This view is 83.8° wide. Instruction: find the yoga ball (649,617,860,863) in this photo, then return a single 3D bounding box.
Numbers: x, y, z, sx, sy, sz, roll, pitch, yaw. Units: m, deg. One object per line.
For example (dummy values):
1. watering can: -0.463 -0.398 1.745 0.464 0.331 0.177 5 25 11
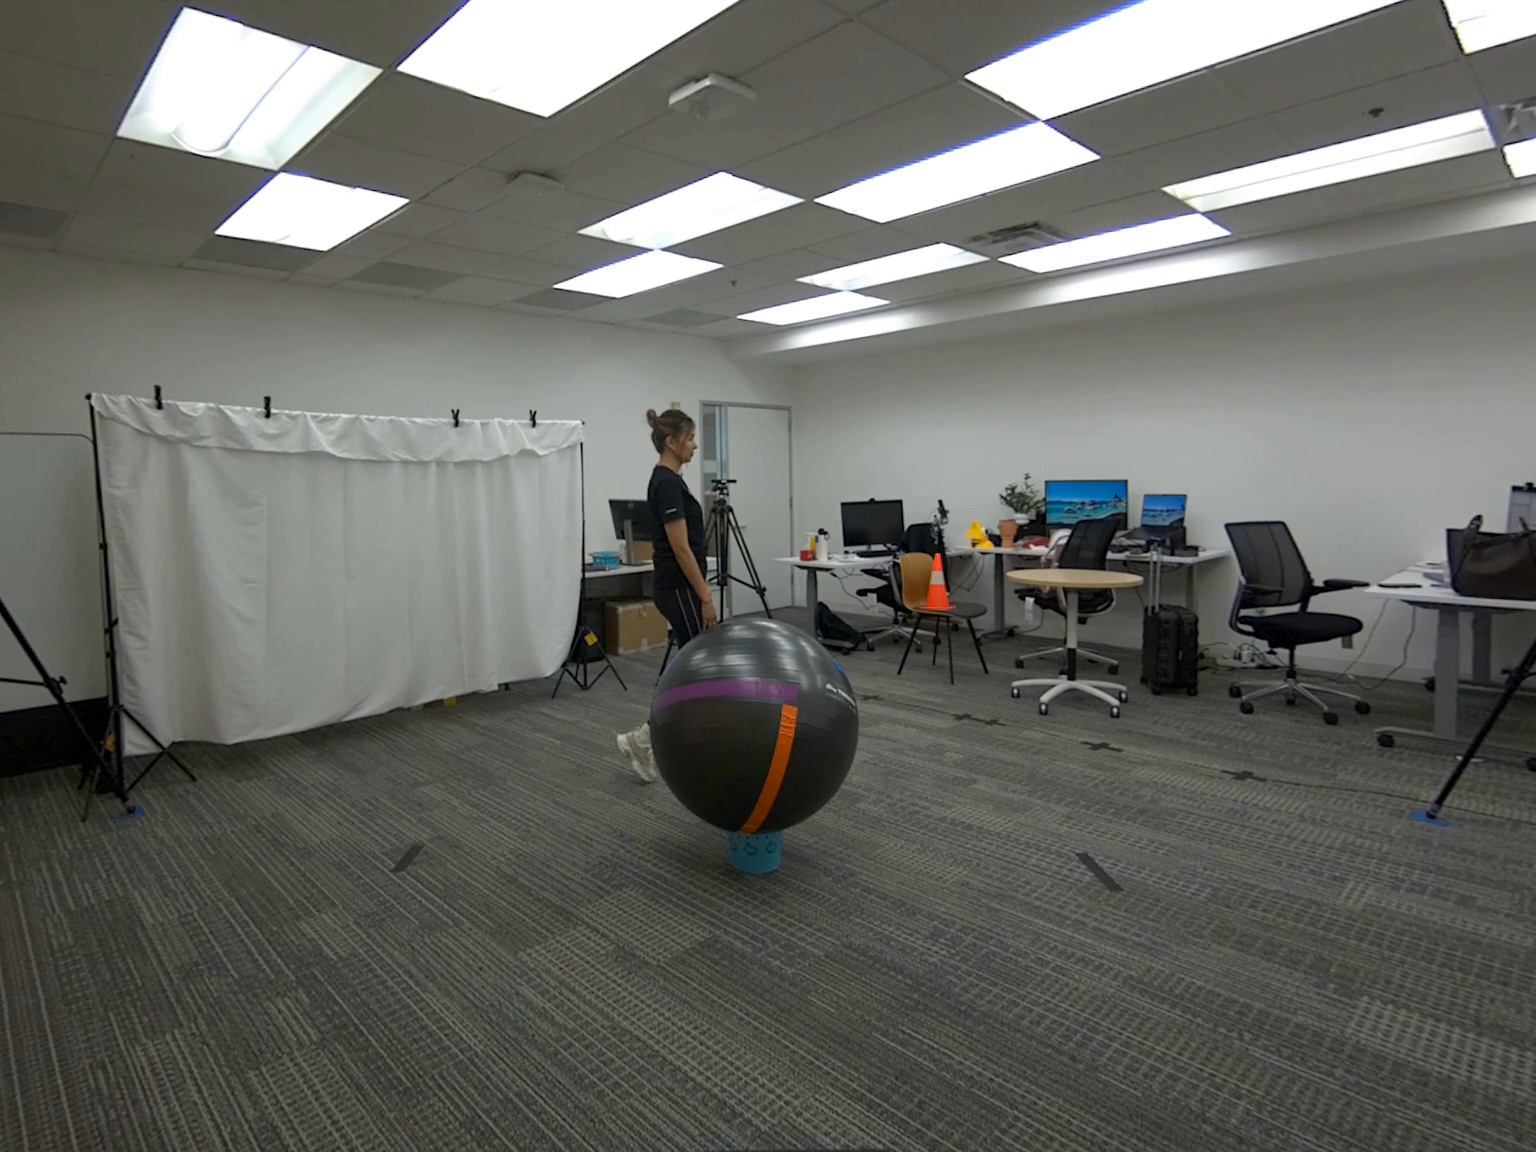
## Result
1. yoga ball: -0.052 0.537 3.099 0.757 0.755 0.762 -1 5 -2
